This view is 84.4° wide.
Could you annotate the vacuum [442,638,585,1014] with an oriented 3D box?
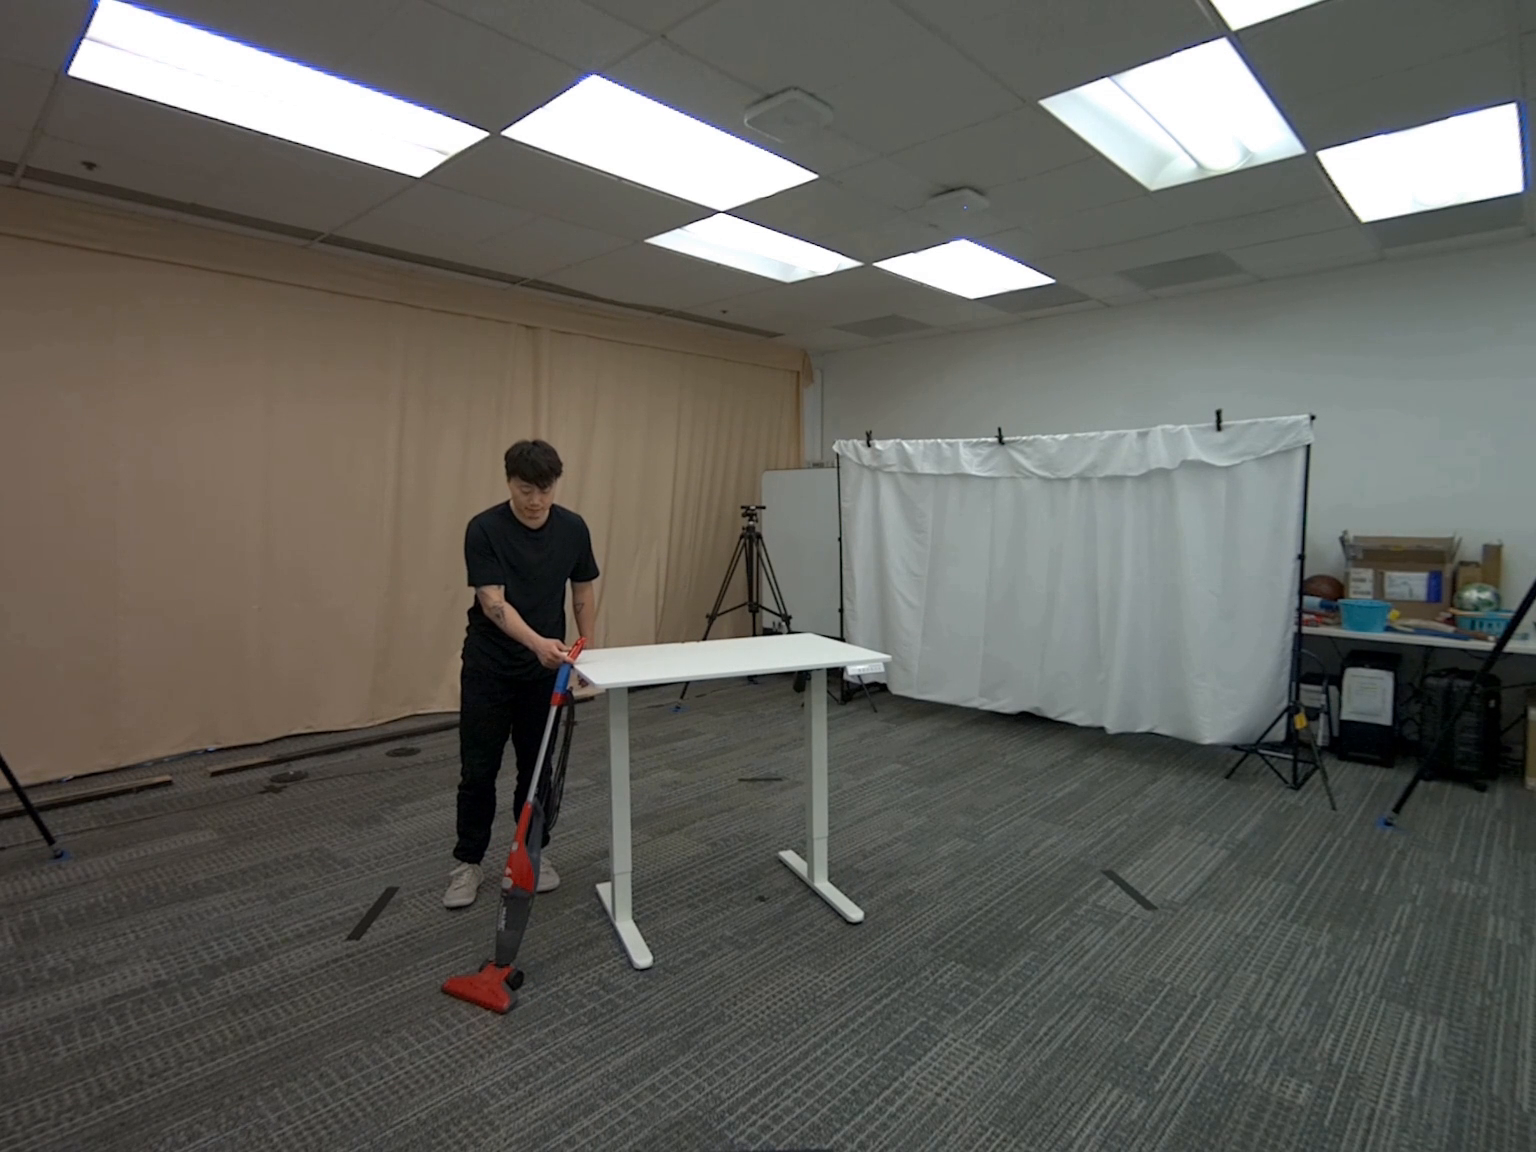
[{"bbox_3d":[-0.711,0.710,2.599,0.260,1.057,0.139,0,-22,30],"label":"vacuum"}]
